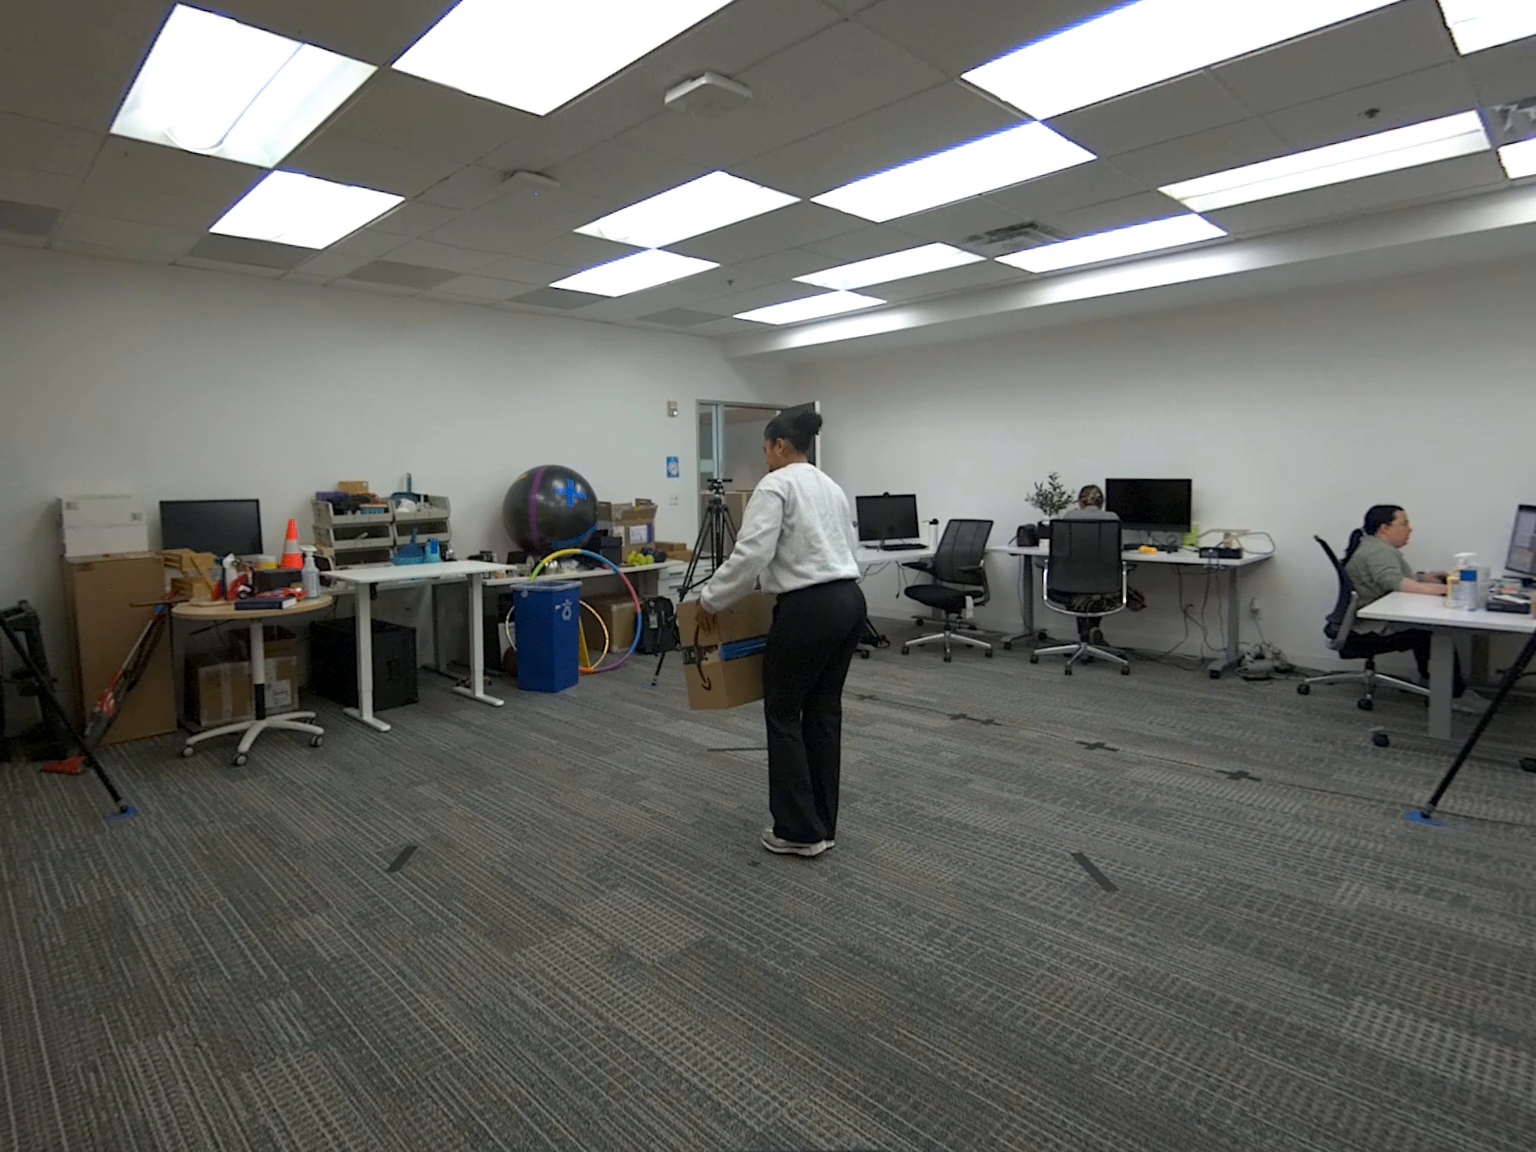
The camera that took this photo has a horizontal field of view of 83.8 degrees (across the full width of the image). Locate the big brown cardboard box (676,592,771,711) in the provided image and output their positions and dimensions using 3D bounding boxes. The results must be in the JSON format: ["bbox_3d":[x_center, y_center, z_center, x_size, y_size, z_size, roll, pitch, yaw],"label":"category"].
[{"bbox_3d":[-0.065,0.262,3.432,0.574,0.419,0.238,-7,-4,-44],"label":"big brown cardboard box"}]
